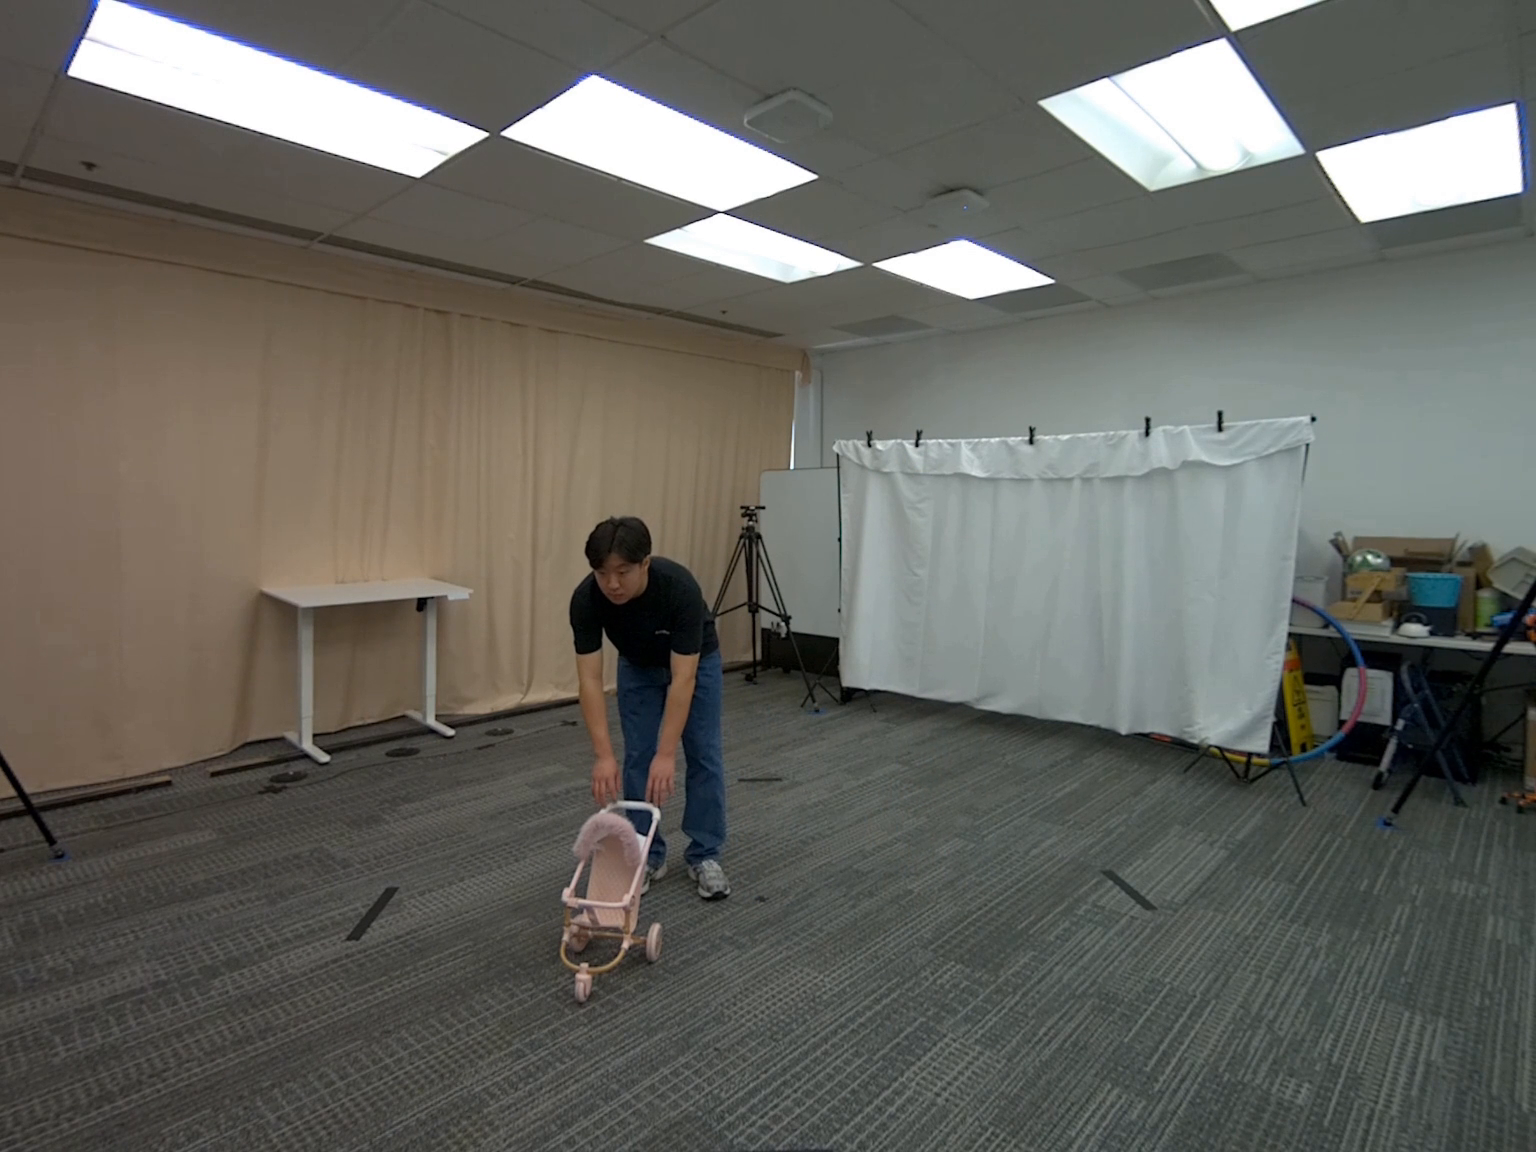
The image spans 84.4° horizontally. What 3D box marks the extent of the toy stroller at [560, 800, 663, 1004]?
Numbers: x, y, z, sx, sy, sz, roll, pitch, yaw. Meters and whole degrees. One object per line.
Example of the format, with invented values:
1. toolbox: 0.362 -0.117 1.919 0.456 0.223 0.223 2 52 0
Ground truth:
1. toy stroller: -0.484 0.967 2.539 0.287 0.539 0.333 -1 -13 17
